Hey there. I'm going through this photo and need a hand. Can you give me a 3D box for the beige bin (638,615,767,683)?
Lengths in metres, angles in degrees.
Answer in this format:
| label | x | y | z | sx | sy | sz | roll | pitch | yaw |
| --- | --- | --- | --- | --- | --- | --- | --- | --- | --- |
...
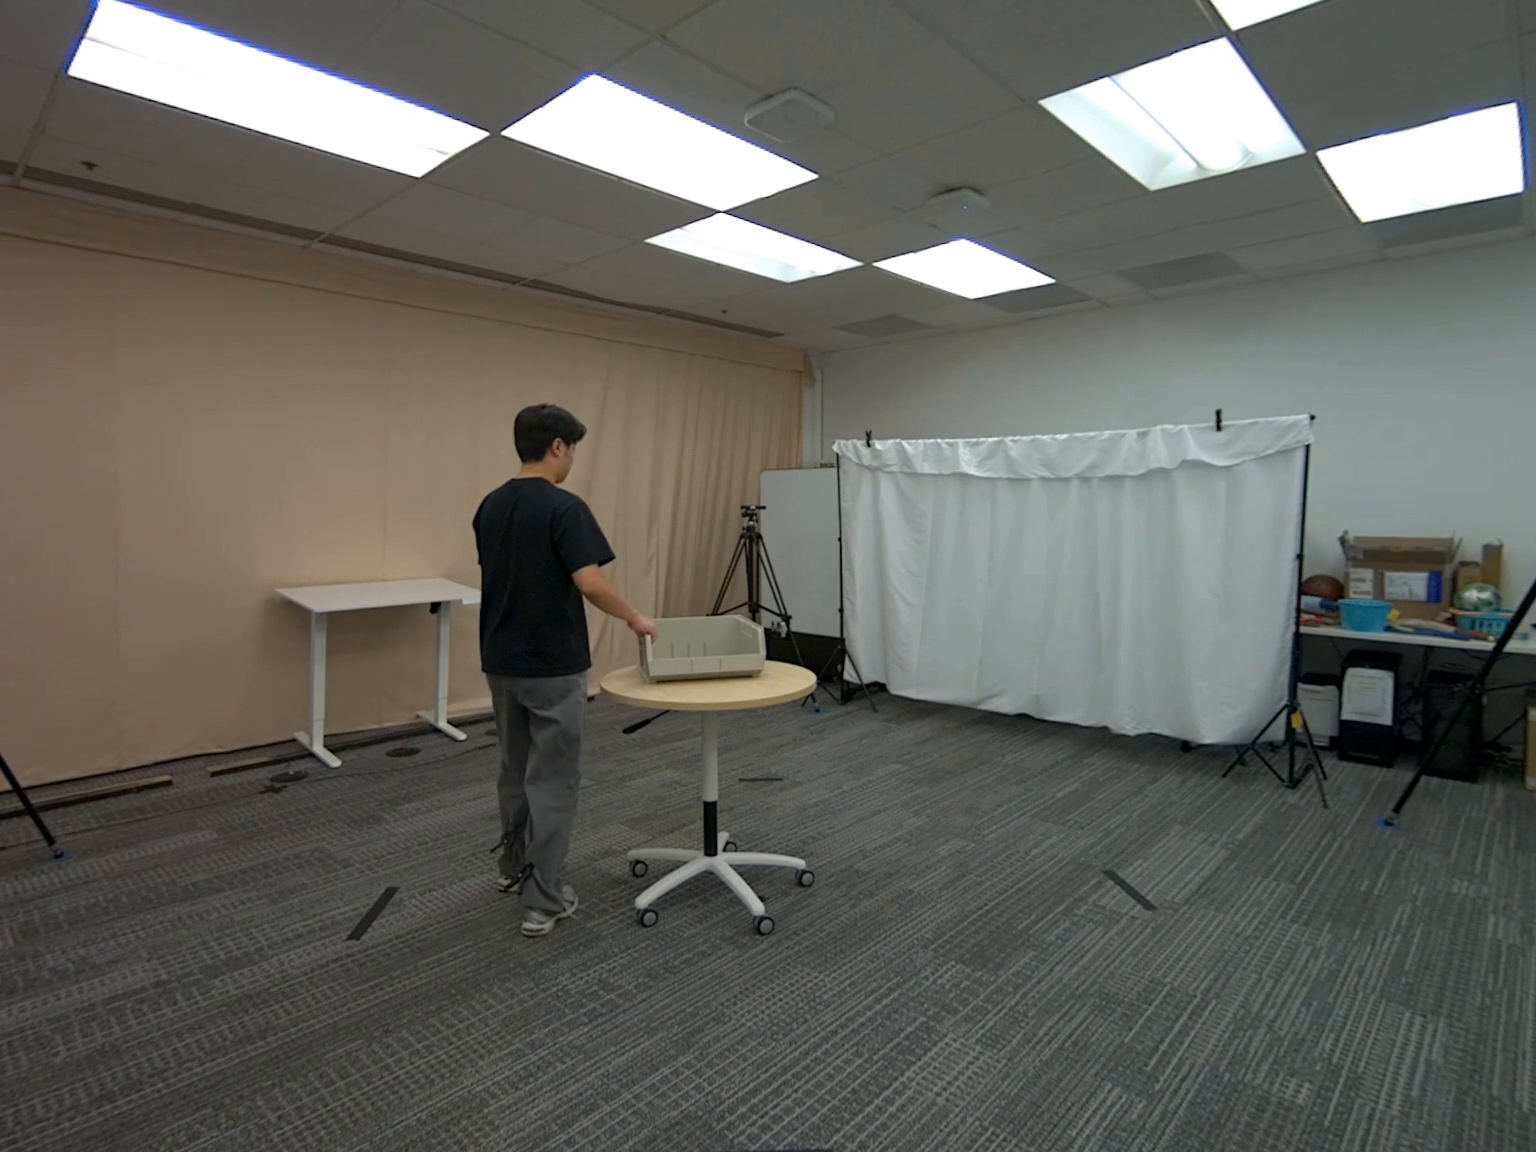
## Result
| label | x | y | z | sx | sy | sz | roll | pitch | yaw |
| --- | --- | --- | --- | --- | --- | --- | --- | --- | --- |
| beige bin | -0.254 | 0.266 | 3.080 | 0.417 | 0.188 | 0.383 | -3 | 4 | -13 |
